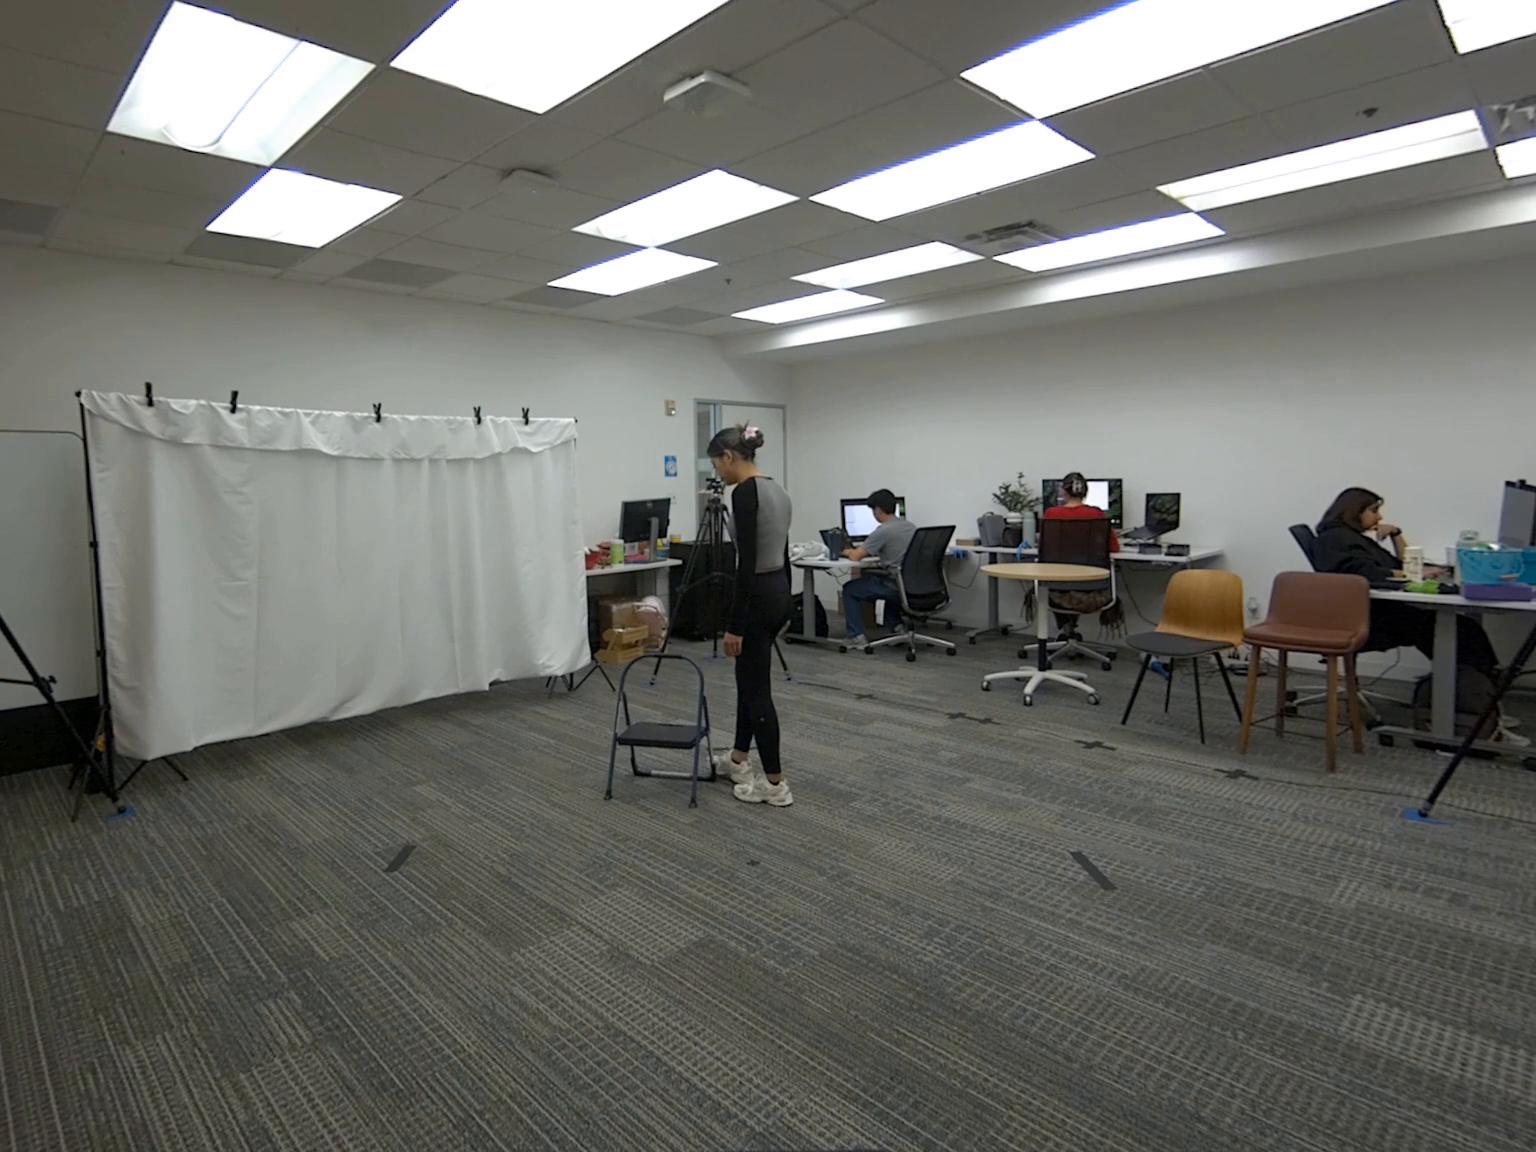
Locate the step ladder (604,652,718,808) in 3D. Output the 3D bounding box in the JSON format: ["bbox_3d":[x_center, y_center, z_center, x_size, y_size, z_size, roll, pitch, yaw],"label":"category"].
[{"bbox_3d":[-0.480,0.667,3.846,0.437,0.603,0.345,0,5,15],"label":"step ladder"}]
